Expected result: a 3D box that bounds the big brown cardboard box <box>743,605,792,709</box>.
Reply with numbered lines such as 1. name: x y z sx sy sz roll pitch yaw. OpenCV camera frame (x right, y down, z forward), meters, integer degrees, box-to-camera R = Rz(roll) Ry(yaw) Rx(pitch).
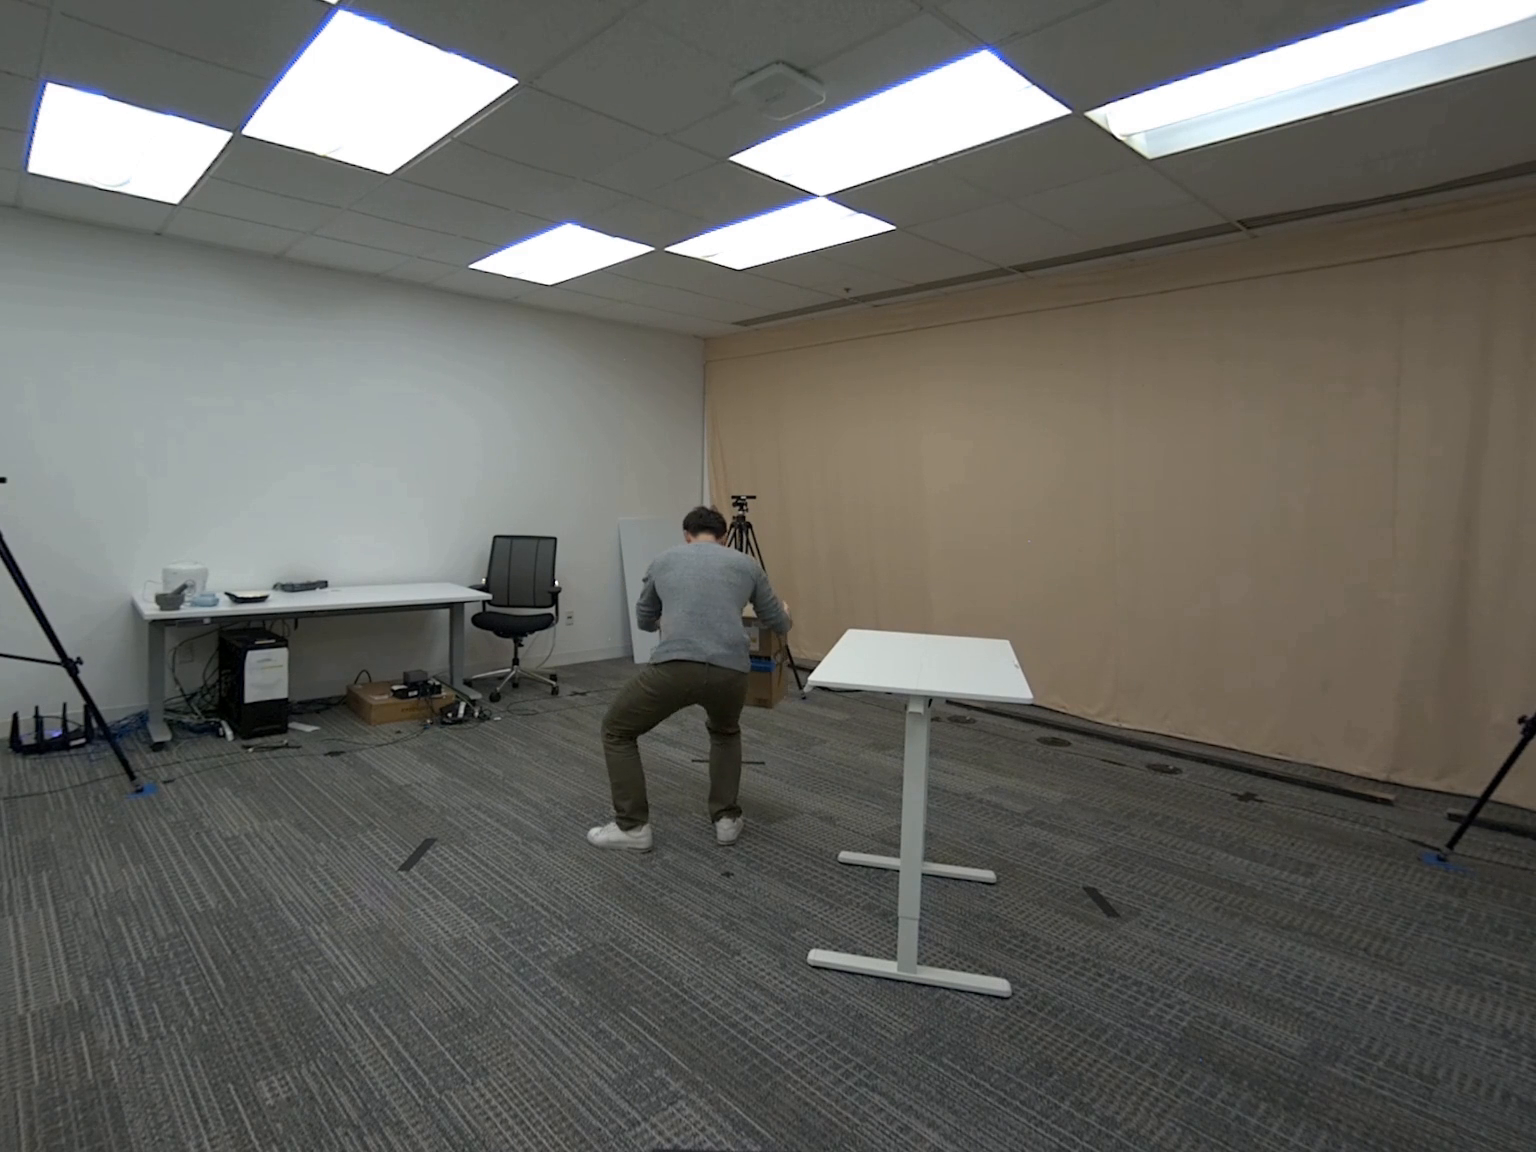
1. big brown cardboard box: -0.211 0.365 3.911 0.600 0.414 0.230 3 10 24
